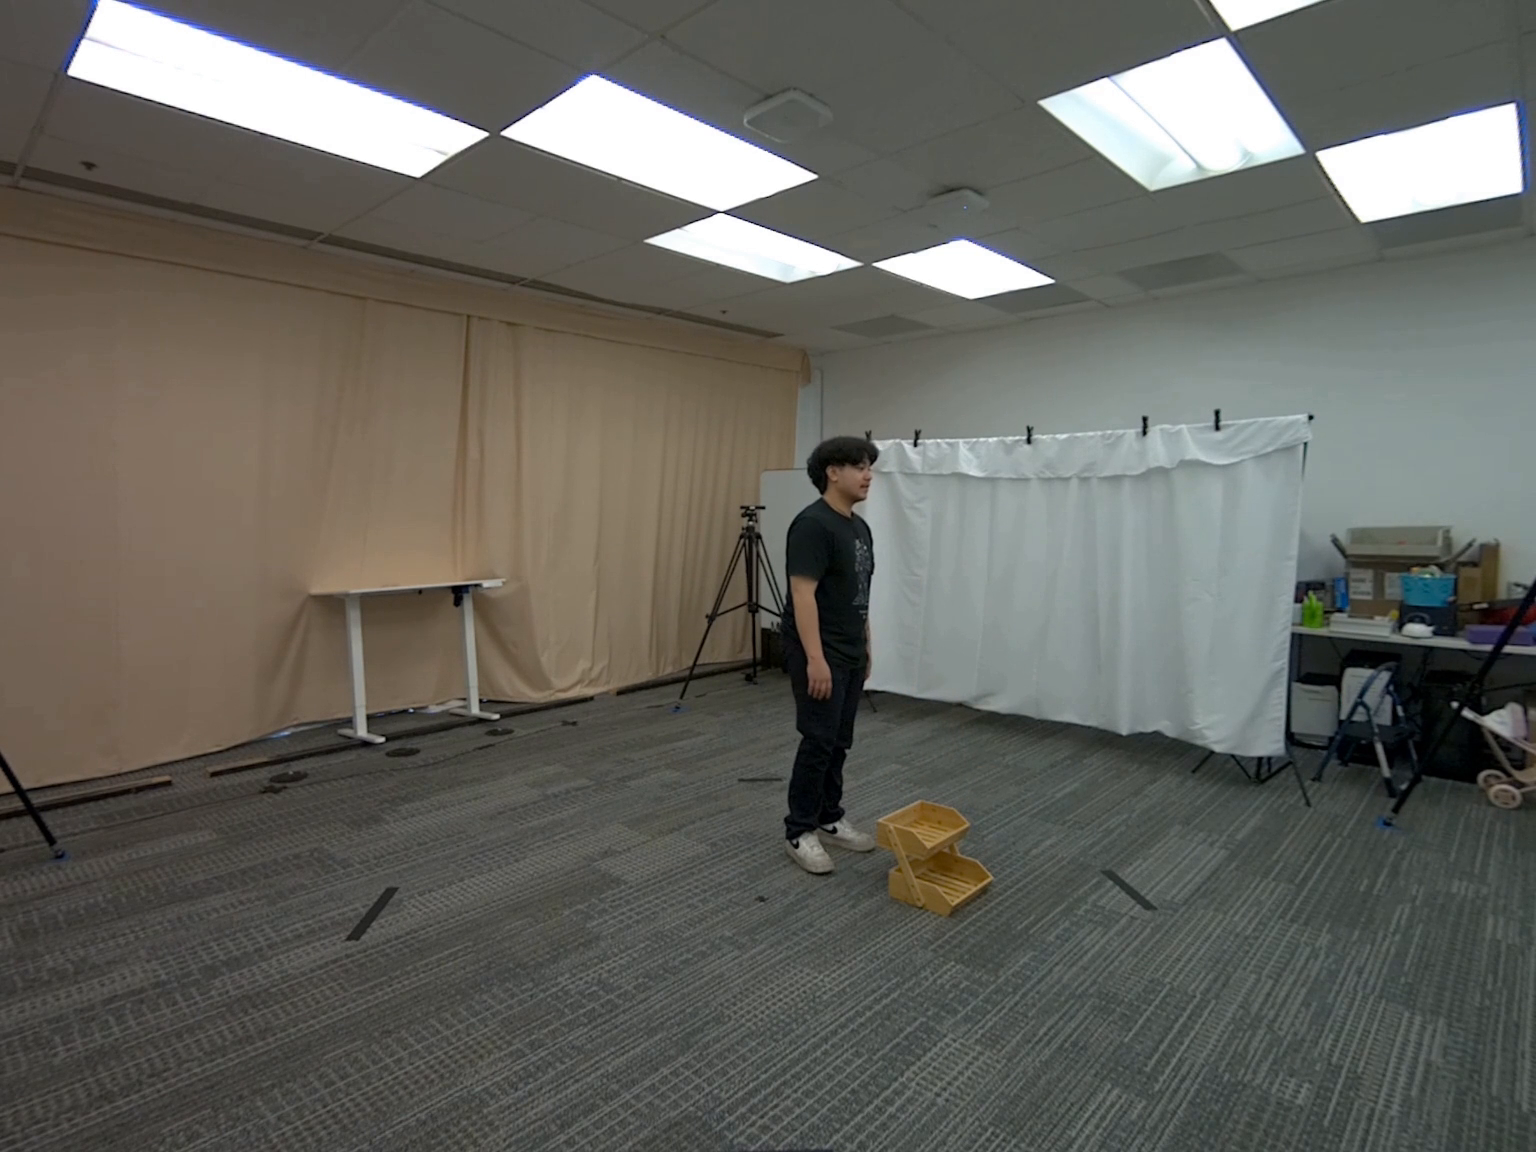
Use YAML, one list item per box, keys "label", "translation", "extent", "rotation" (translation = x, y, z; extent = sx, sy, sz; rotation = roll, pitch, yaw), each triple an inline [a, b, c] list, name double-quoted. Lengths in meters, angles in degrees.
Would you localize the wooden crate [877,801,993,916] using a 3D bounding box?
- label: "wooden crate"
  translation: [0.613, 1.004, 3.027]
  extent: [0.312, 0.273, 0.314]
  rotation: [2, 4, 42]
